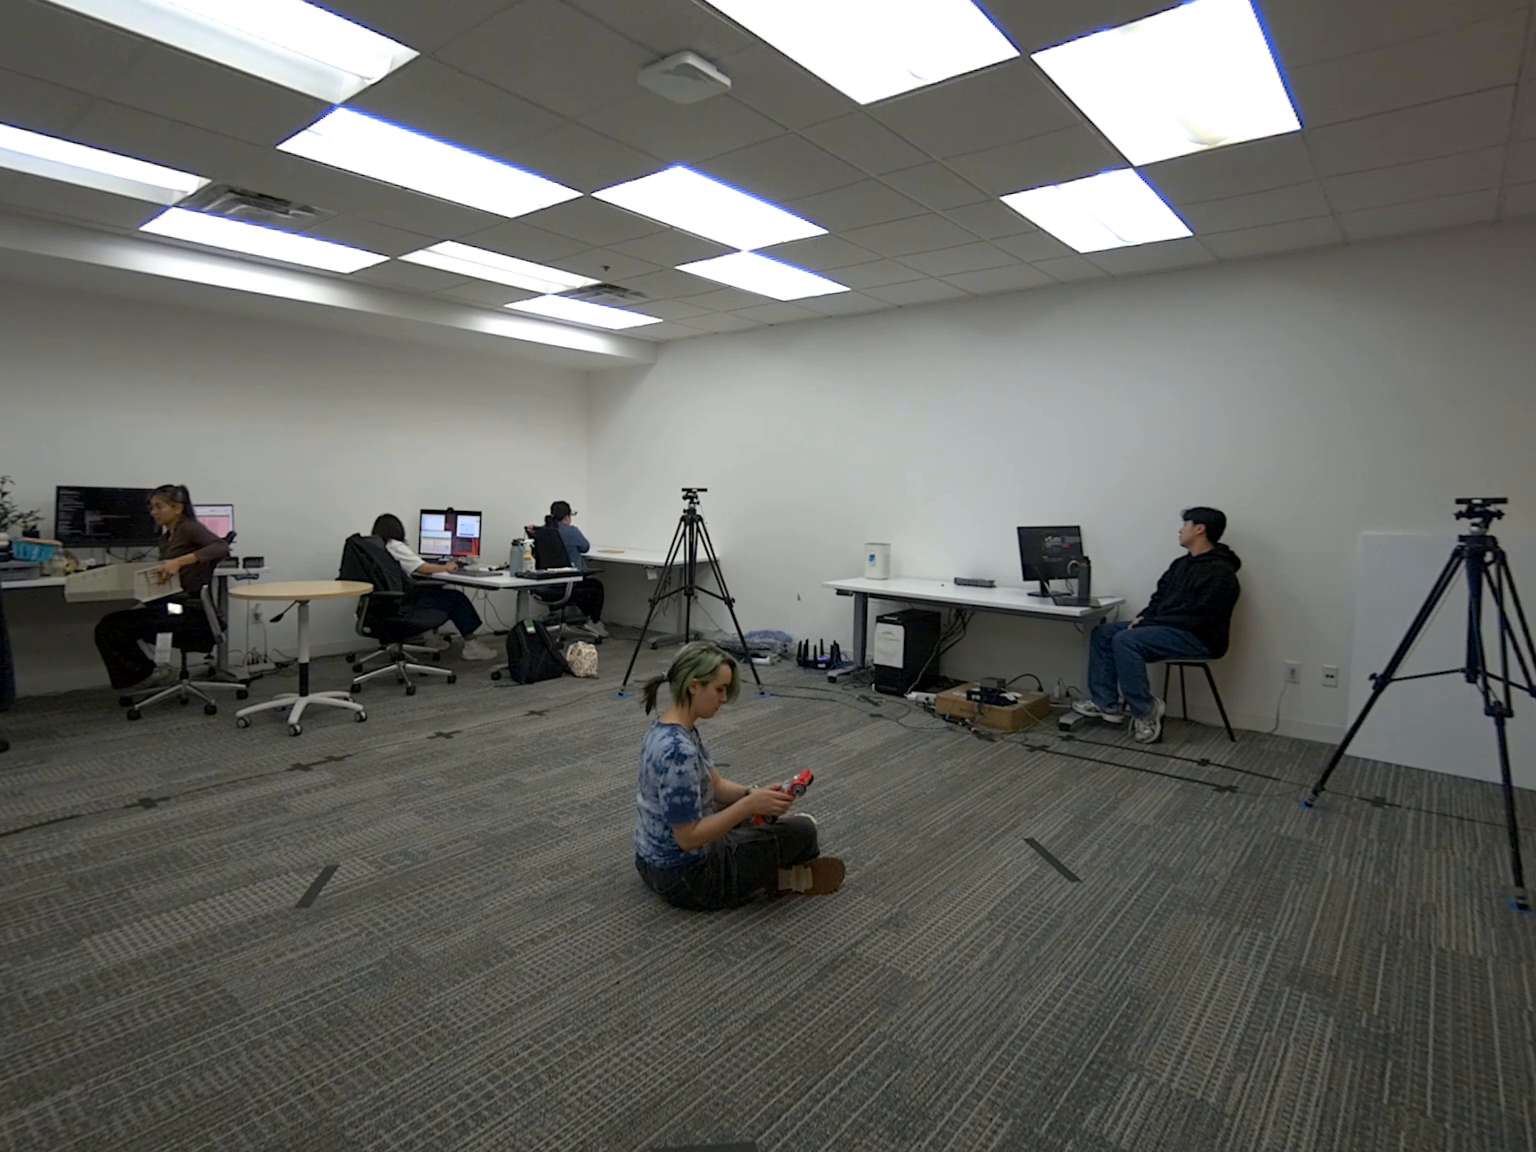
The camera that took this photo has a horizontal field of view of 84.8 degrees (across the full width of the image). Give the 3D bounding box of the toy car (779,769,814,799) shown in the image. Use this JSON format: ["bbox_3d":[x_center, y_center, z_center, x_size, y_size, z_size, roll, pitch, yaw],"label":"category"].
[{"bbox_3d":[0.039,0.736,2.798,0.256,0.084,0.128,-36,-5,22],"label":"toy car"}]
